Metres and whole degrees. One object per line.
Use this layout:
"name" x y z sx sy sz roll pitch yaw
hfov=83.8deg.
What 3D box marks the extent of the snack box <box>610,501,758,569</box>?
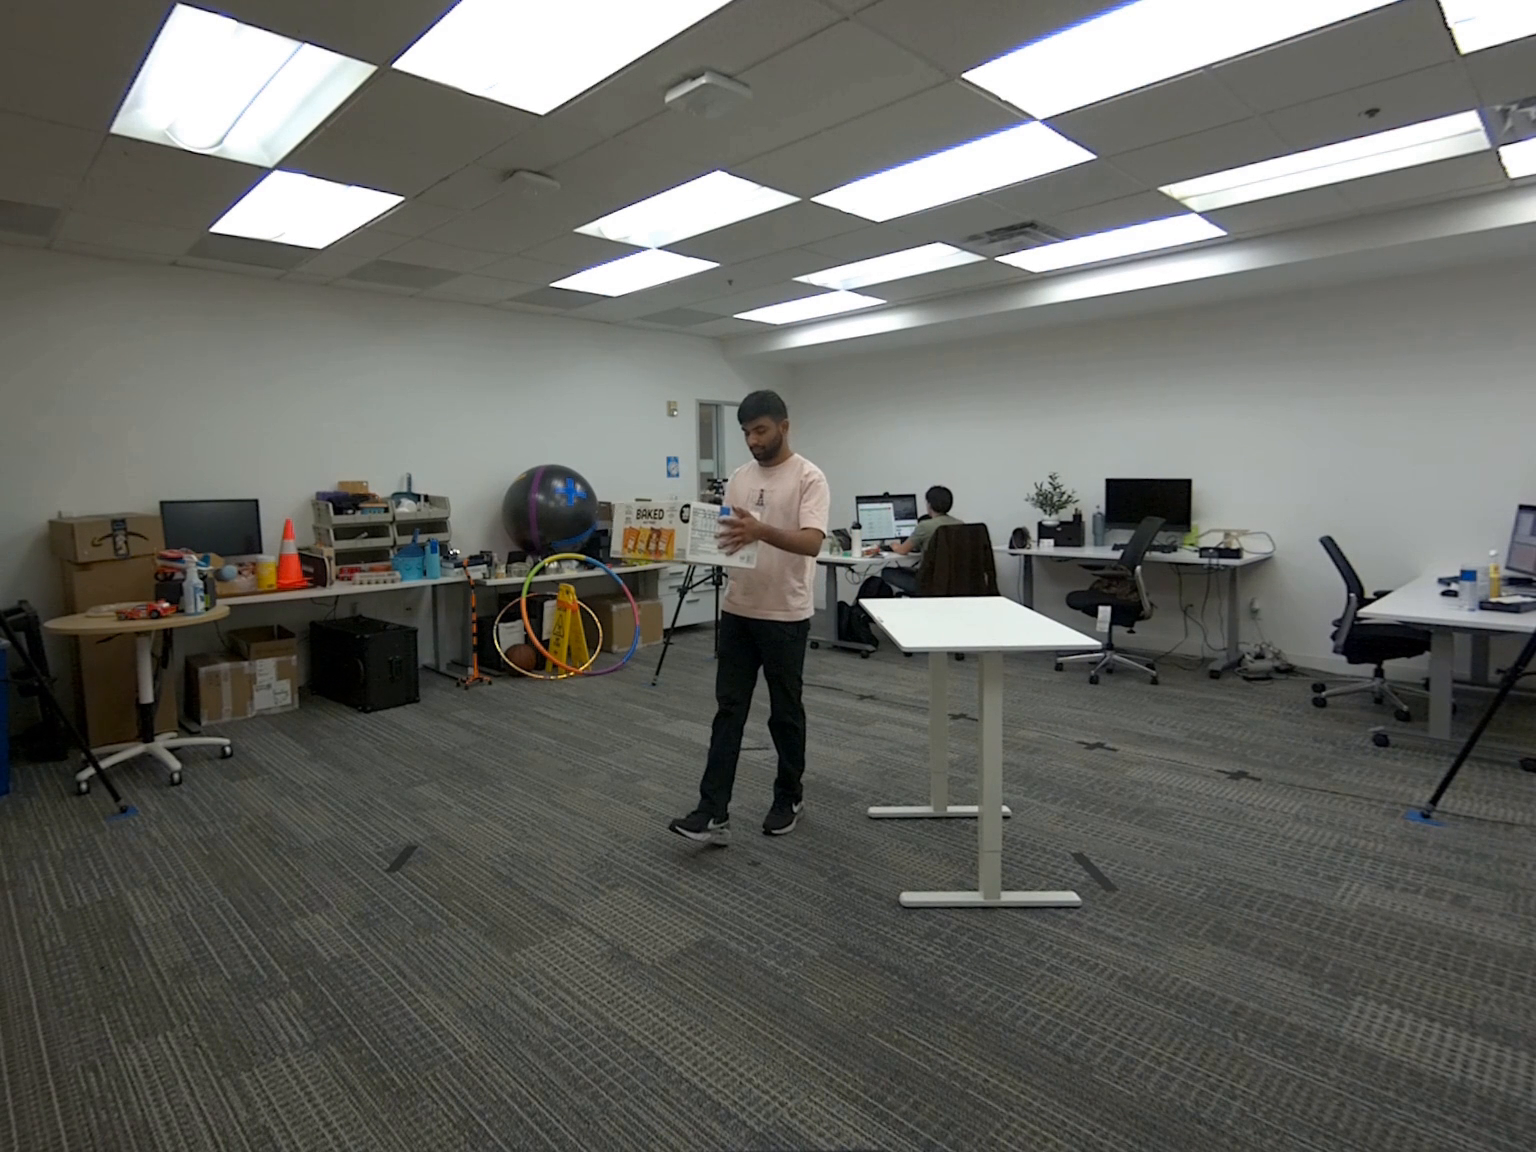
"snack box" -0.297 -0.148 3.059 0.417 0.206 0.329 4 -2 43
